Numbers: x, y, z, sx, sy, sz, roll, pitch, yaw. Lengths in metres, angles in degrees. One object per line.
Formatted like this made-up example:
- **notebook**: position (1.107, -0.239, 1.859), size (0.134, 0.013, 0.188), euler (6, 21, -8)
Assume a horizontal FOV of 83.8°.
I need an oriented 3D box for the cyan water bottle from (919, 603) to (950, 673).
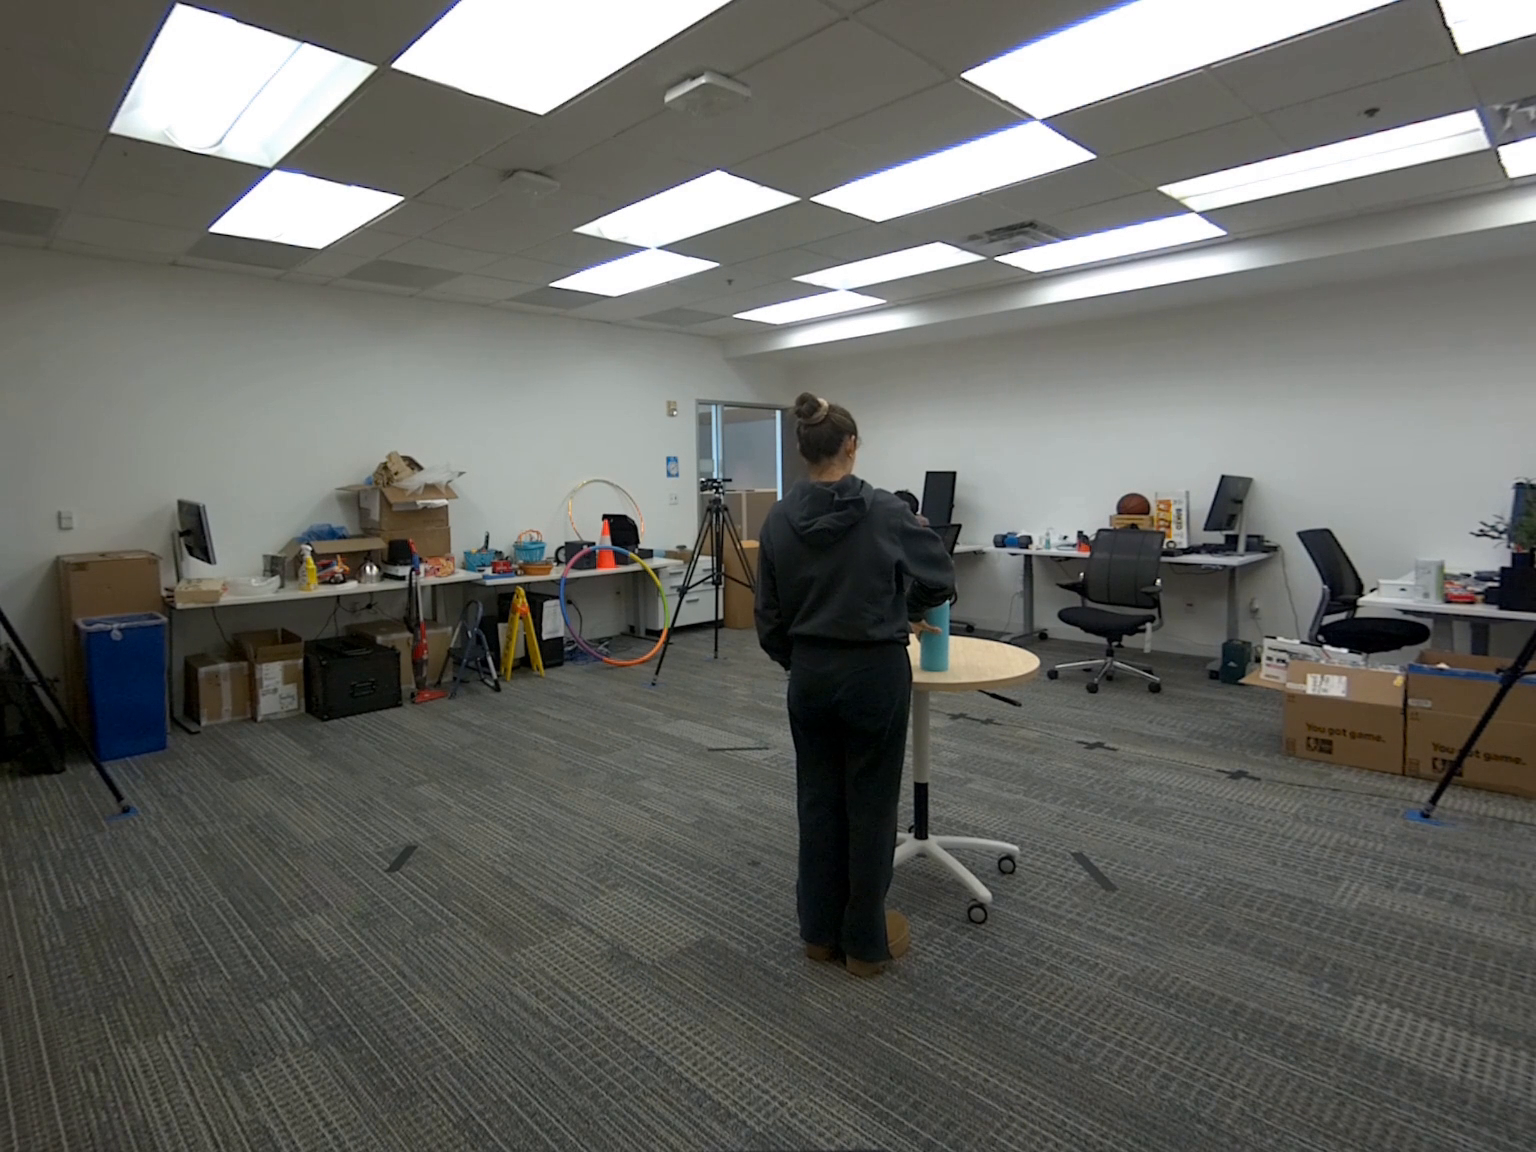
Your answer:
- **cyan water bottle**: position (0.534, 0.160, 2.708), size (0.092, 0.282, 0.093), euler (-1, 4, -2)
